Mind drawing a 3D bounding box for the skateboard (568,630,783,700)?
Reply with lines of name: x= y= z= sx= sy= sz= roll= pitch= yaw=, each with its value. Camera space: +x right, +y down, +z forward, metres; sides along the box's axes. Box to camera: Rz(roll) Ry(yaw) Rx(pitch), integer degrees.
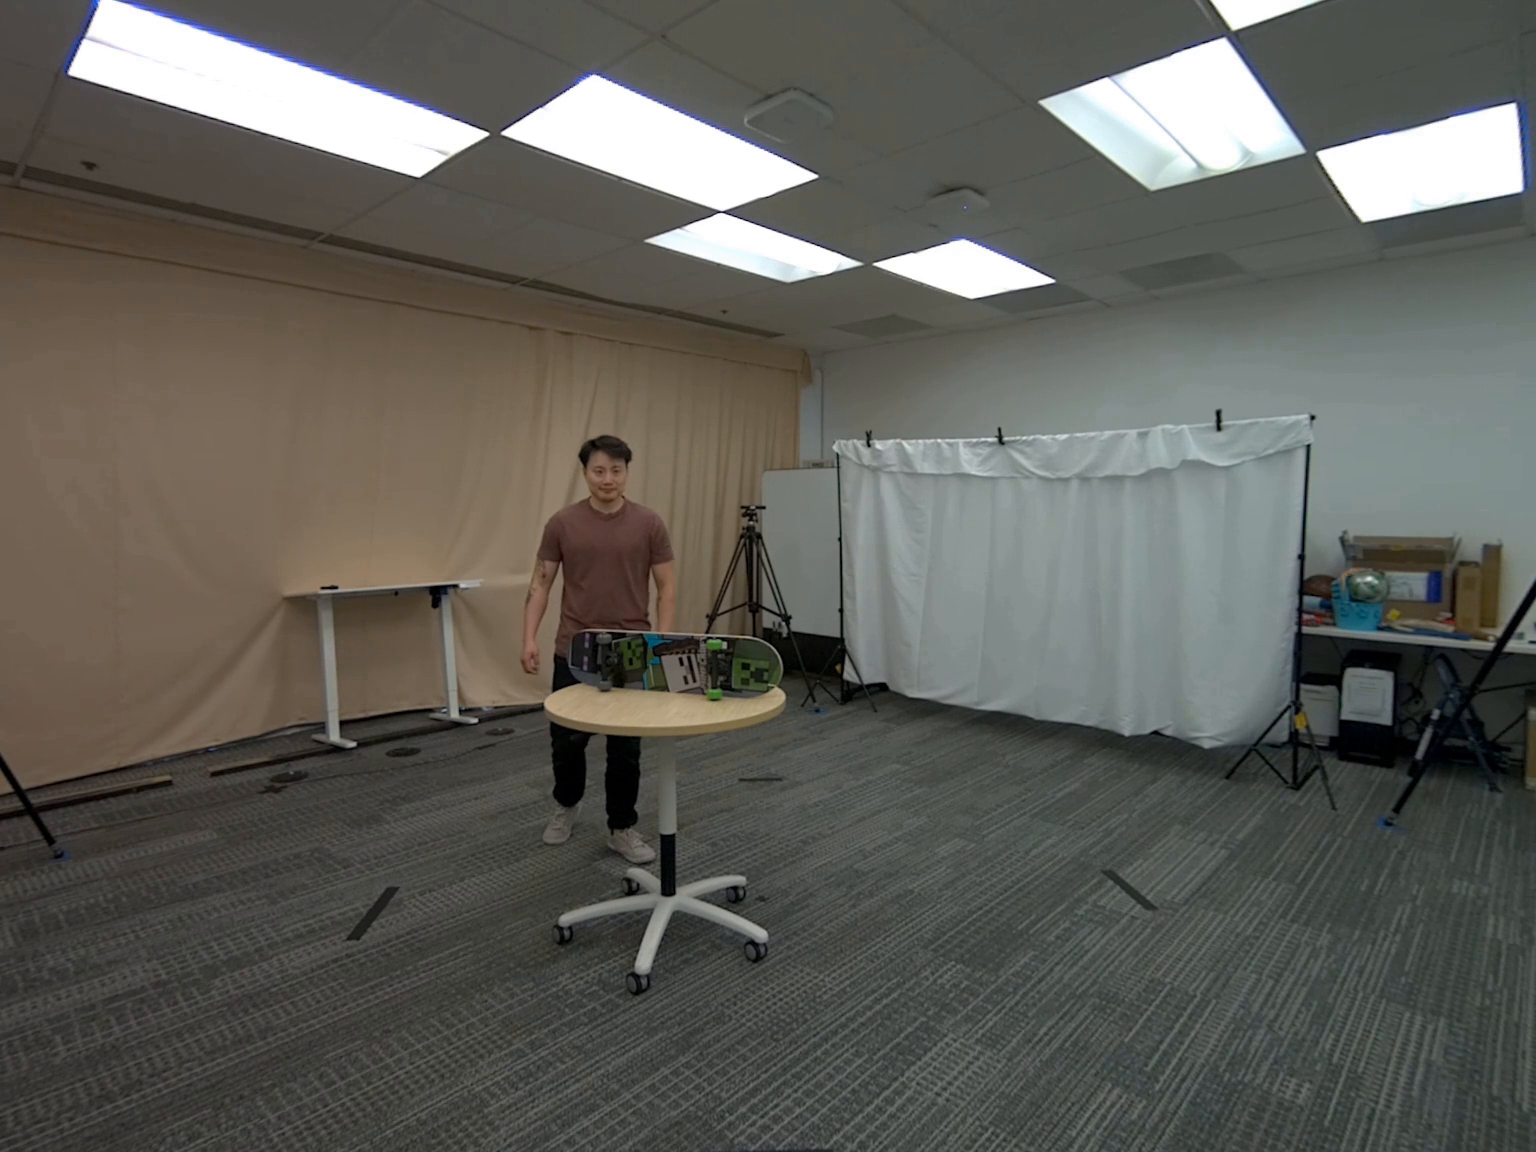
skateboard: x=-0.333 y=0.287 z=2.733 sx=0.804 sy=0.193 sz=0.108 roll=1 pitch=5 yaw=23
